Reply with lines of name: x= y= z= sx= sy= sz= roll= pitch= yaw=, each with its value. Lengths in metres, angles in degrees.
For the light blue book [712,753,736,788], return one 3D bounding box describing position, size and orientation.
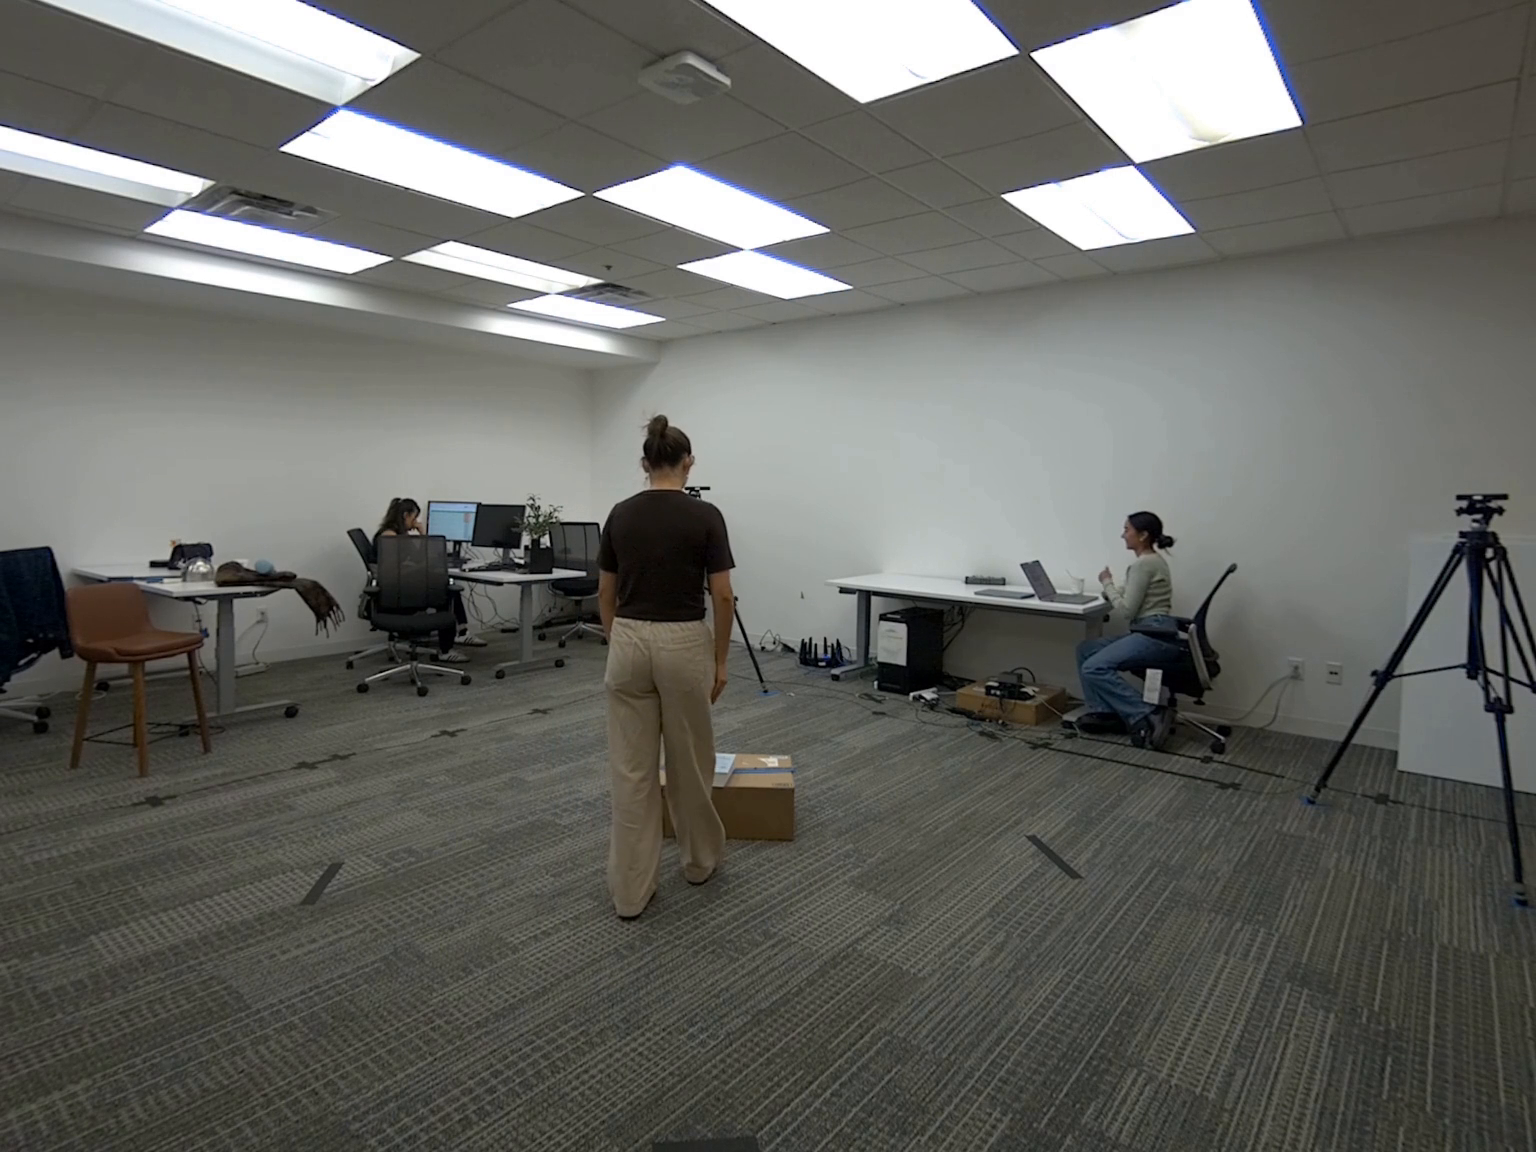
light blue book: x=-0.249 y=0.784 z=3.491 sx=0.193 sy=0.059 sz=0.259 roll=2 pitch=4 yaw=7
